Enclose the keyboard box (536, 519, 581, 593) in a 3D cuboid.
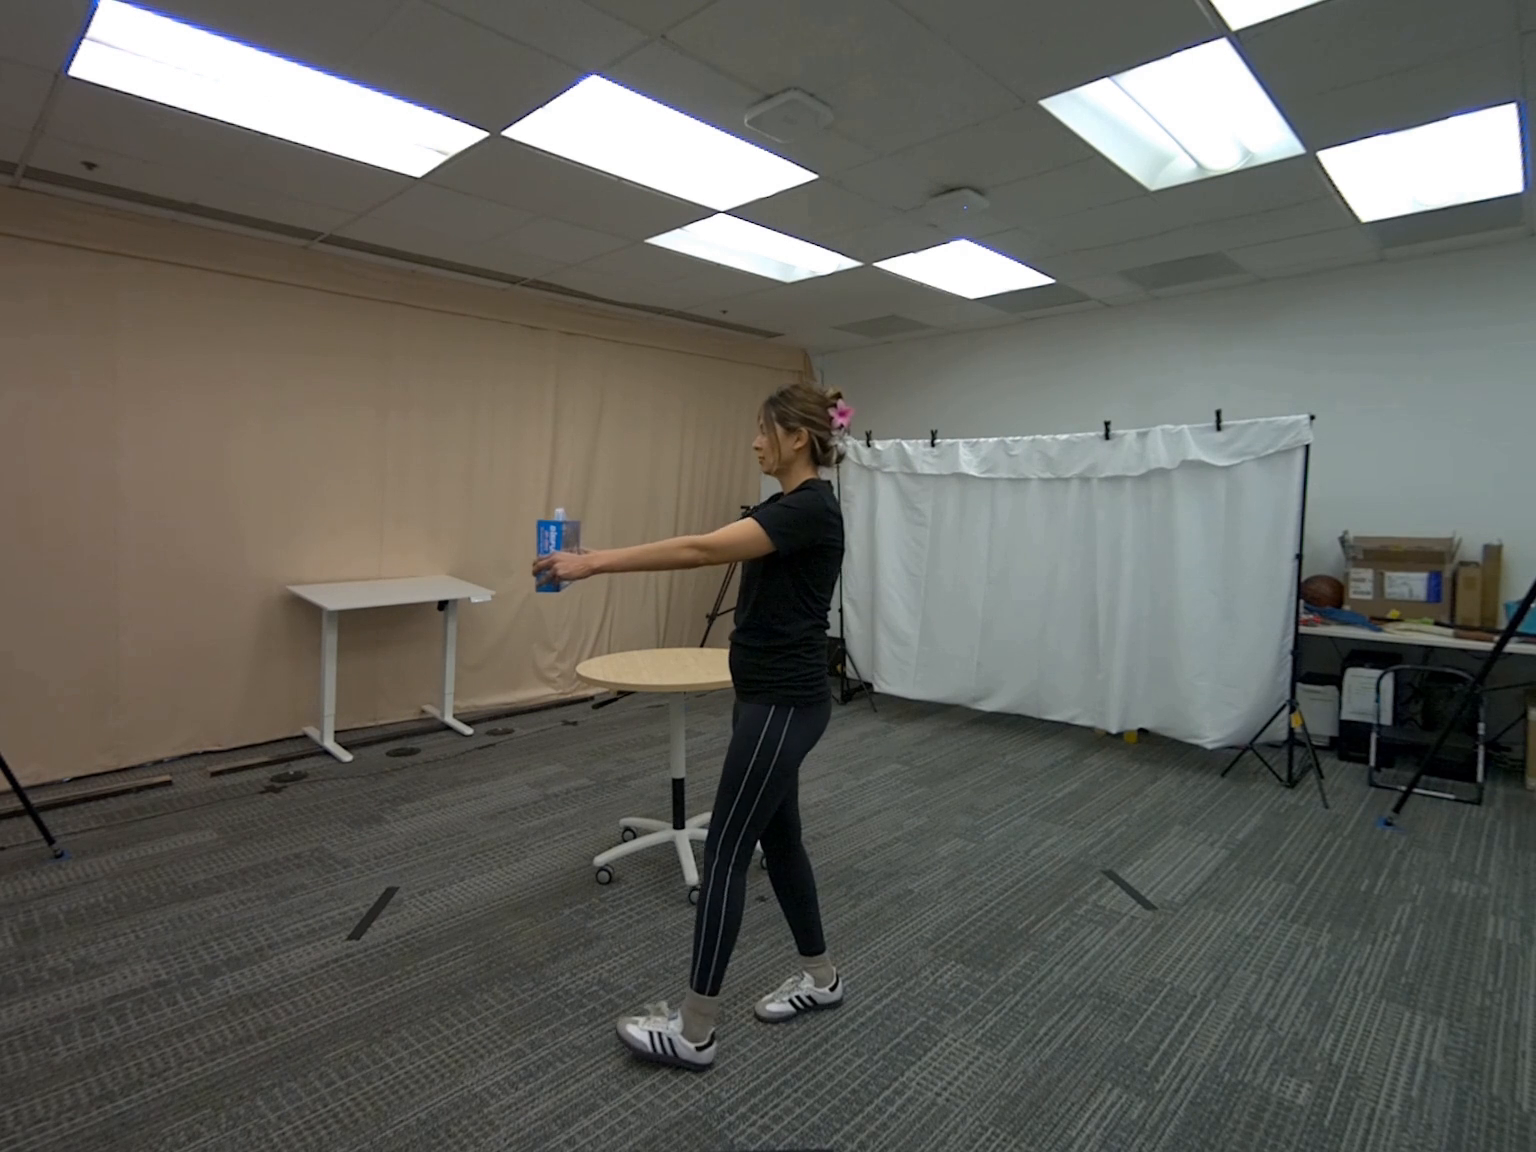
[{"bbox_3d":[-0.546,-0.060,2.210,0.059,0.176,0.440,2,3,-7],"label":"keyboard box"}]
